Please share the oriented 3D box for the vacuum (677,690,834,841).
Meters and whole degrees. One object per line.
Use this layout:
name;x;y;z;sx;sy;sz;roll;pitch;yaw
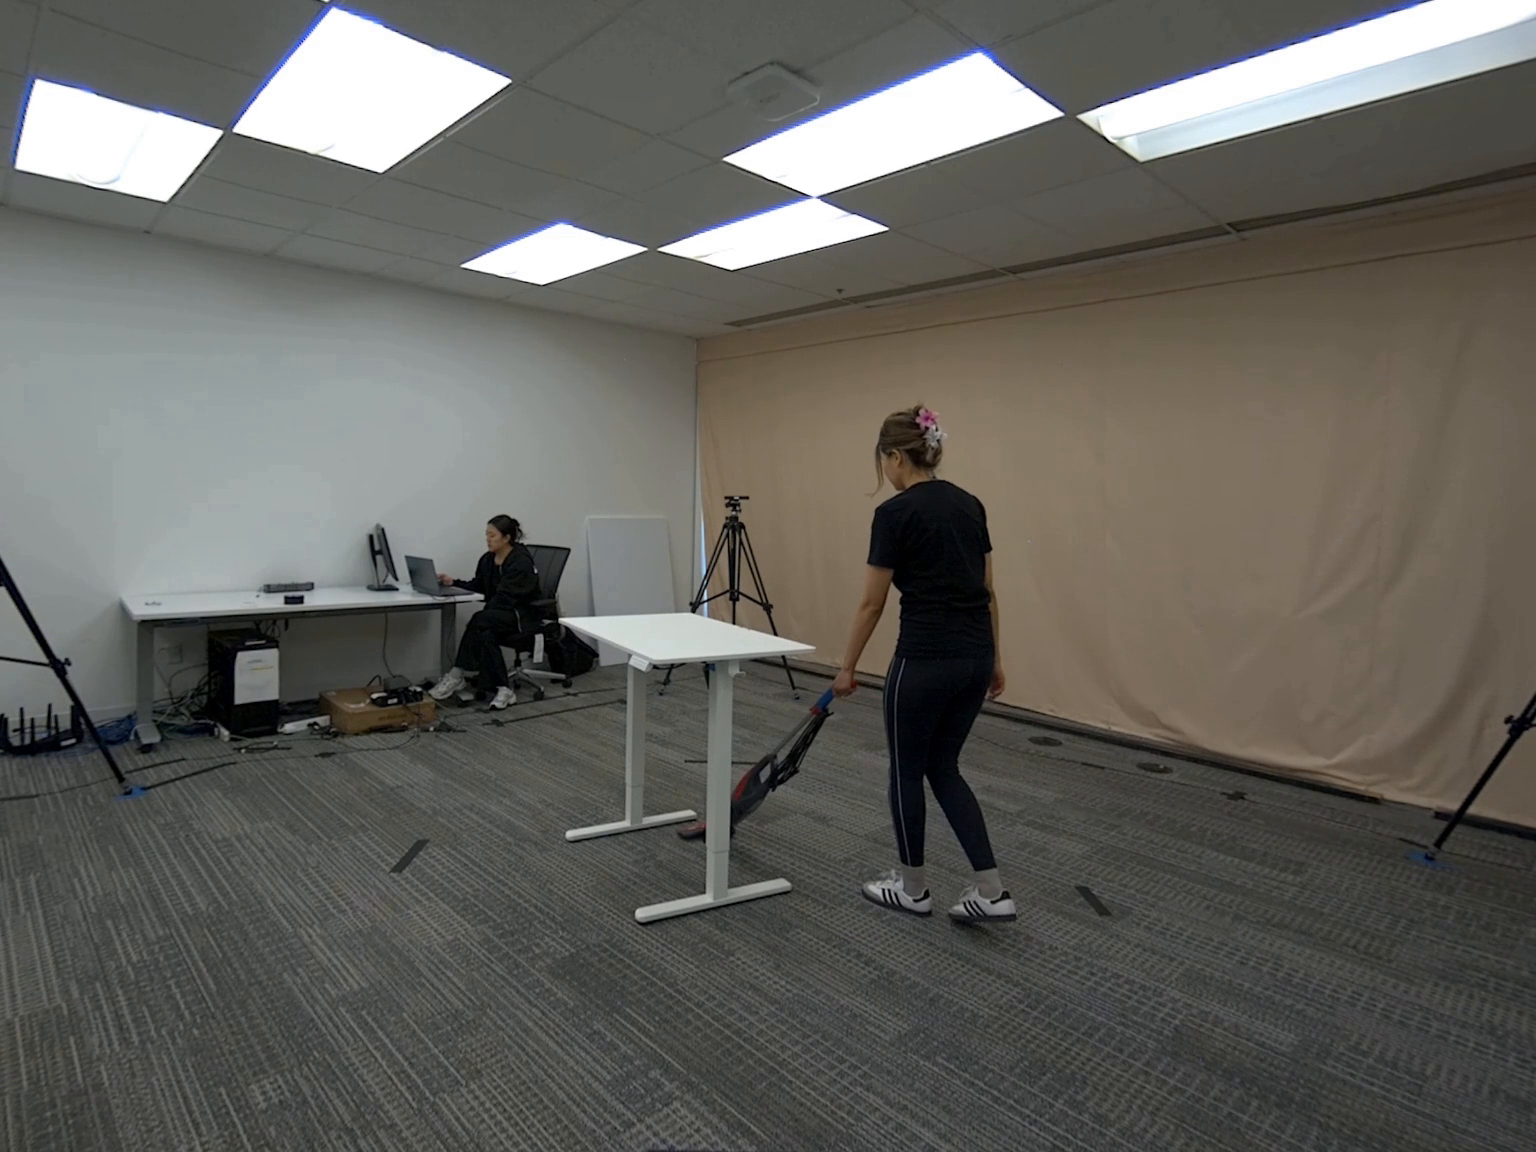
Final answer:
vacuum;0.024;0.720;3.166;0.247;0.147;1.047;-5;-34;-45
